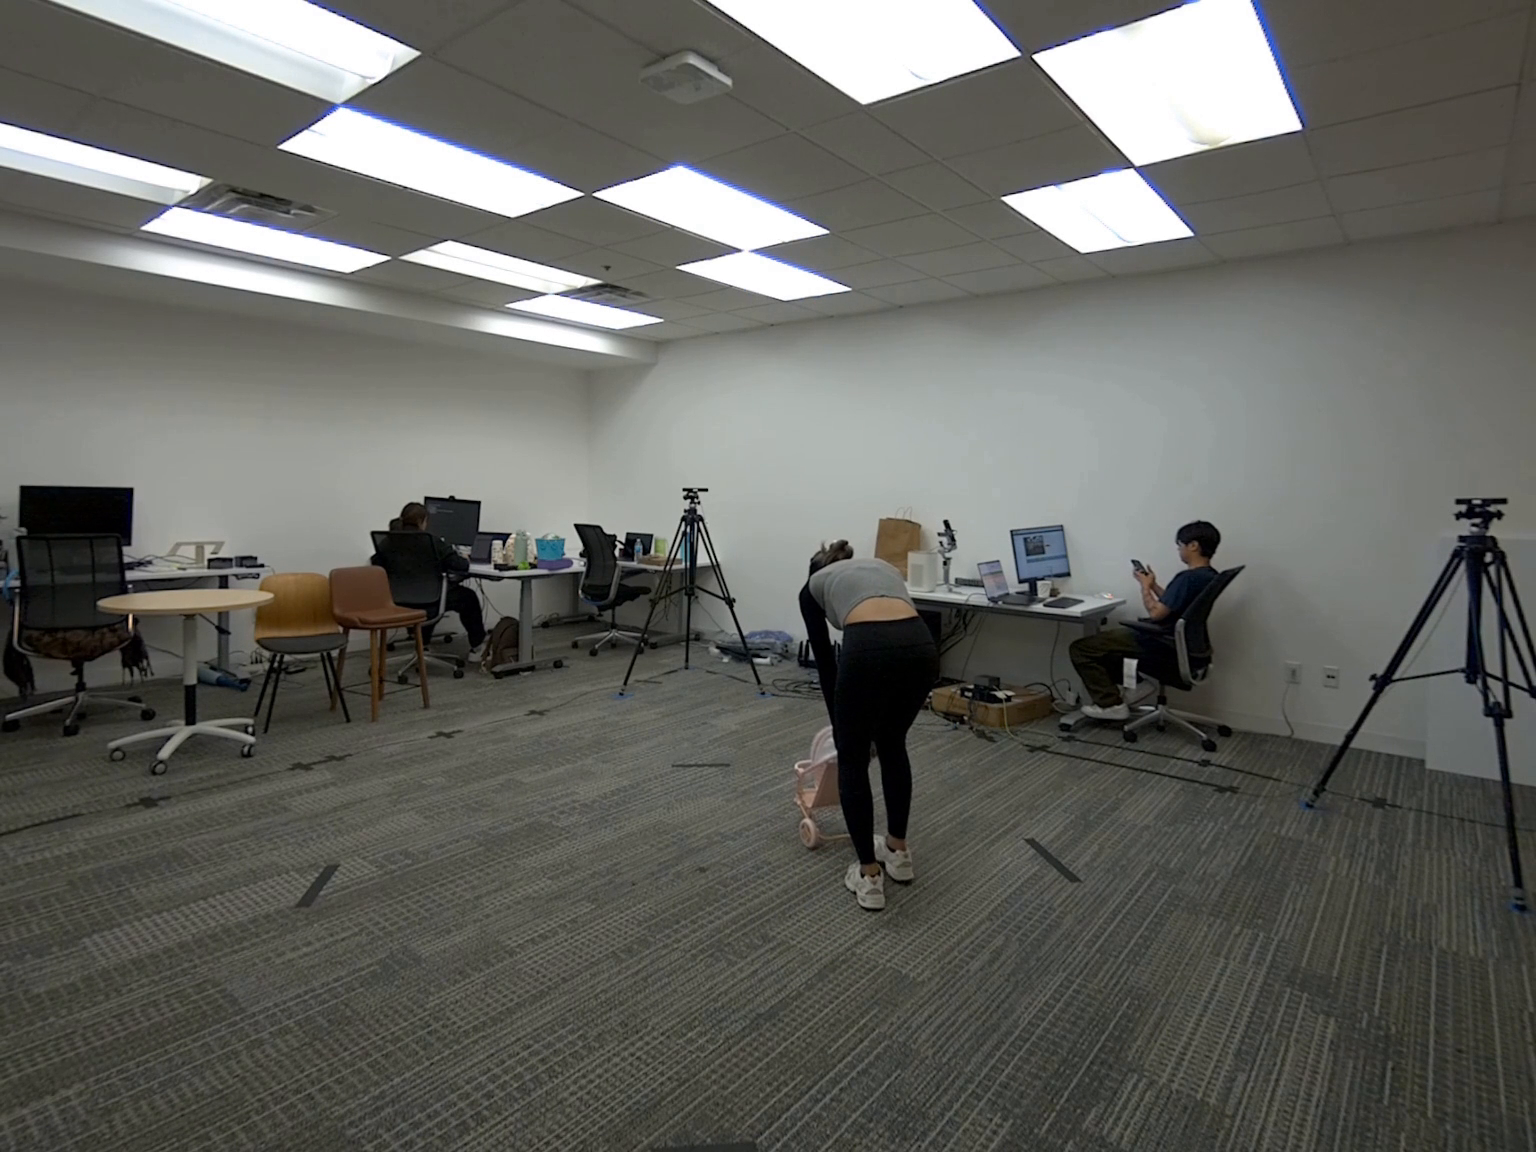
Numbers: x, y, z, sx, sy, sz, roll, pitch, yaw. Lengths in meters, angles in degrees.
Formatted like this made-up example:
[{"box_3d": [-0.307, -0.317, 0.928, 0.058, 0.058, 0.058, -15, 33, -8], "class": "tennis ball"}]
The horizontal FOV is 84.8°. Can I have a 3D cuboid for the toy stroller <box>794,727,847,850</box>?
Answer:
[{"box_3d": [0.240, 0.824, 3.426, 0.276, 0.527, 0.353, 1, 20, -21], "class": "toy stroller"}]
